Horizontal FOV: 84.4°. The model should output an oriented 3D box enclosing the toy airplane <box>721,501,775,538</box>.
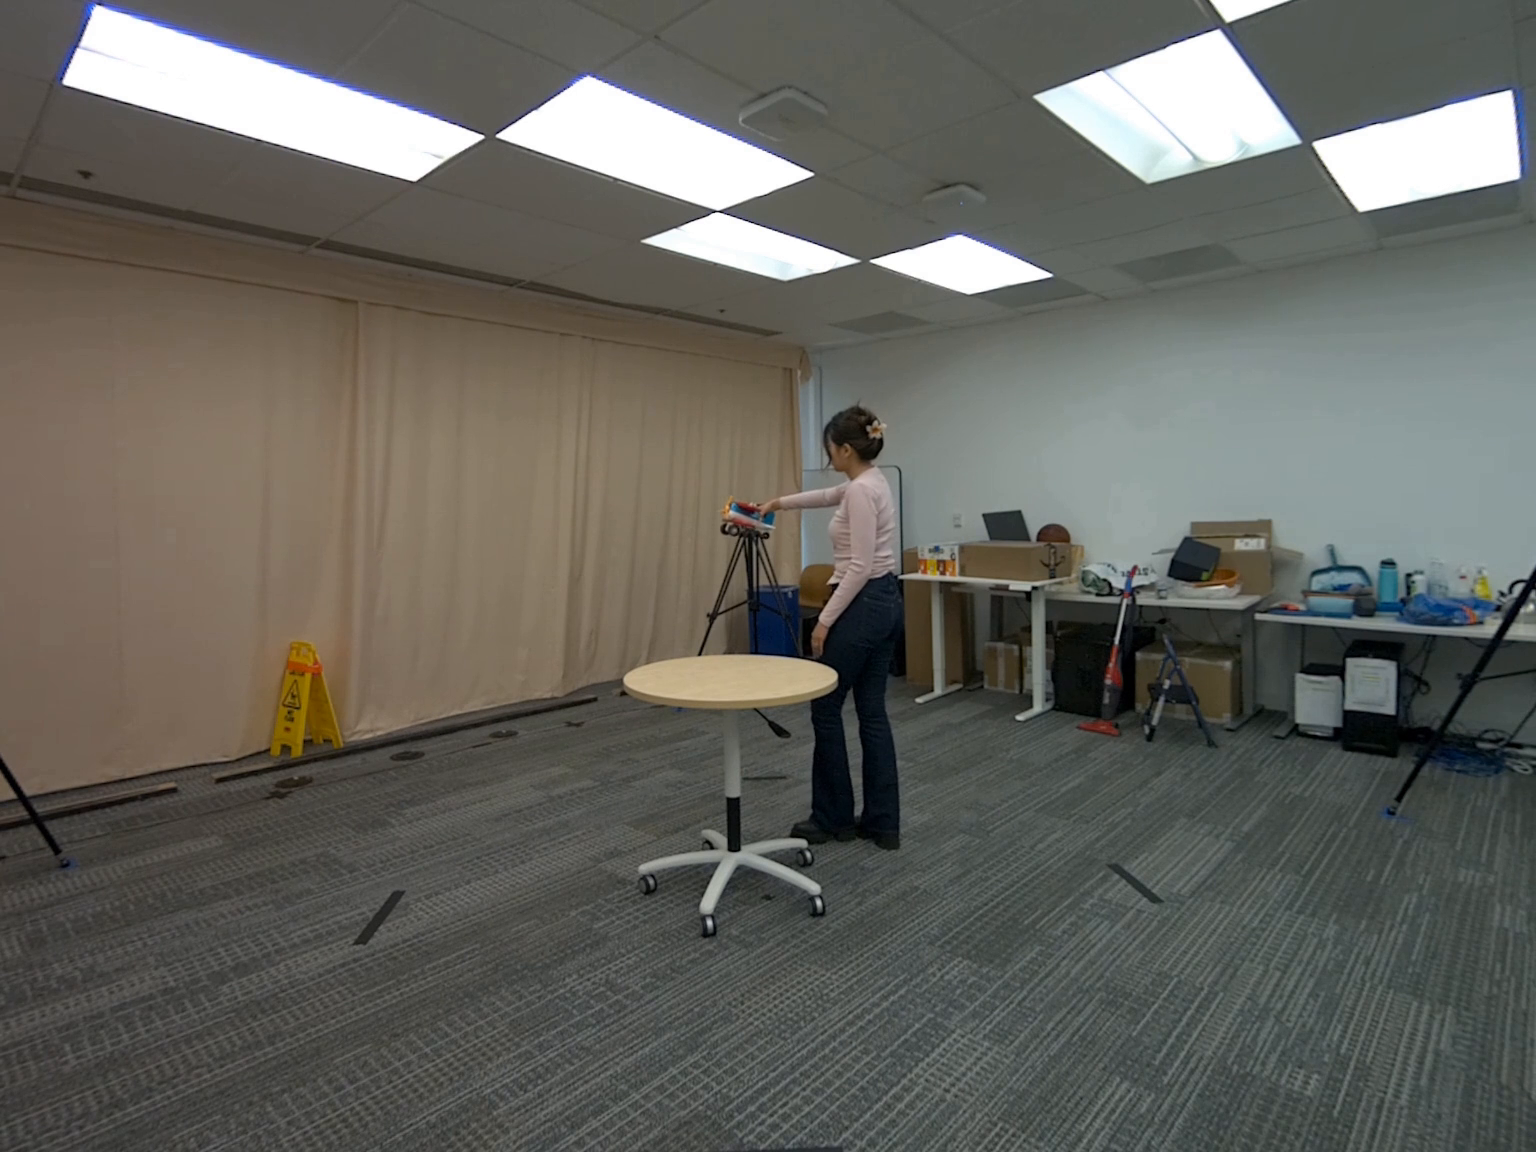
[{"bbox_3d":[-0.102,-0.253,3.869,0.260,0.156,0.251,10,5,37],"label":"toy airplane"}]
